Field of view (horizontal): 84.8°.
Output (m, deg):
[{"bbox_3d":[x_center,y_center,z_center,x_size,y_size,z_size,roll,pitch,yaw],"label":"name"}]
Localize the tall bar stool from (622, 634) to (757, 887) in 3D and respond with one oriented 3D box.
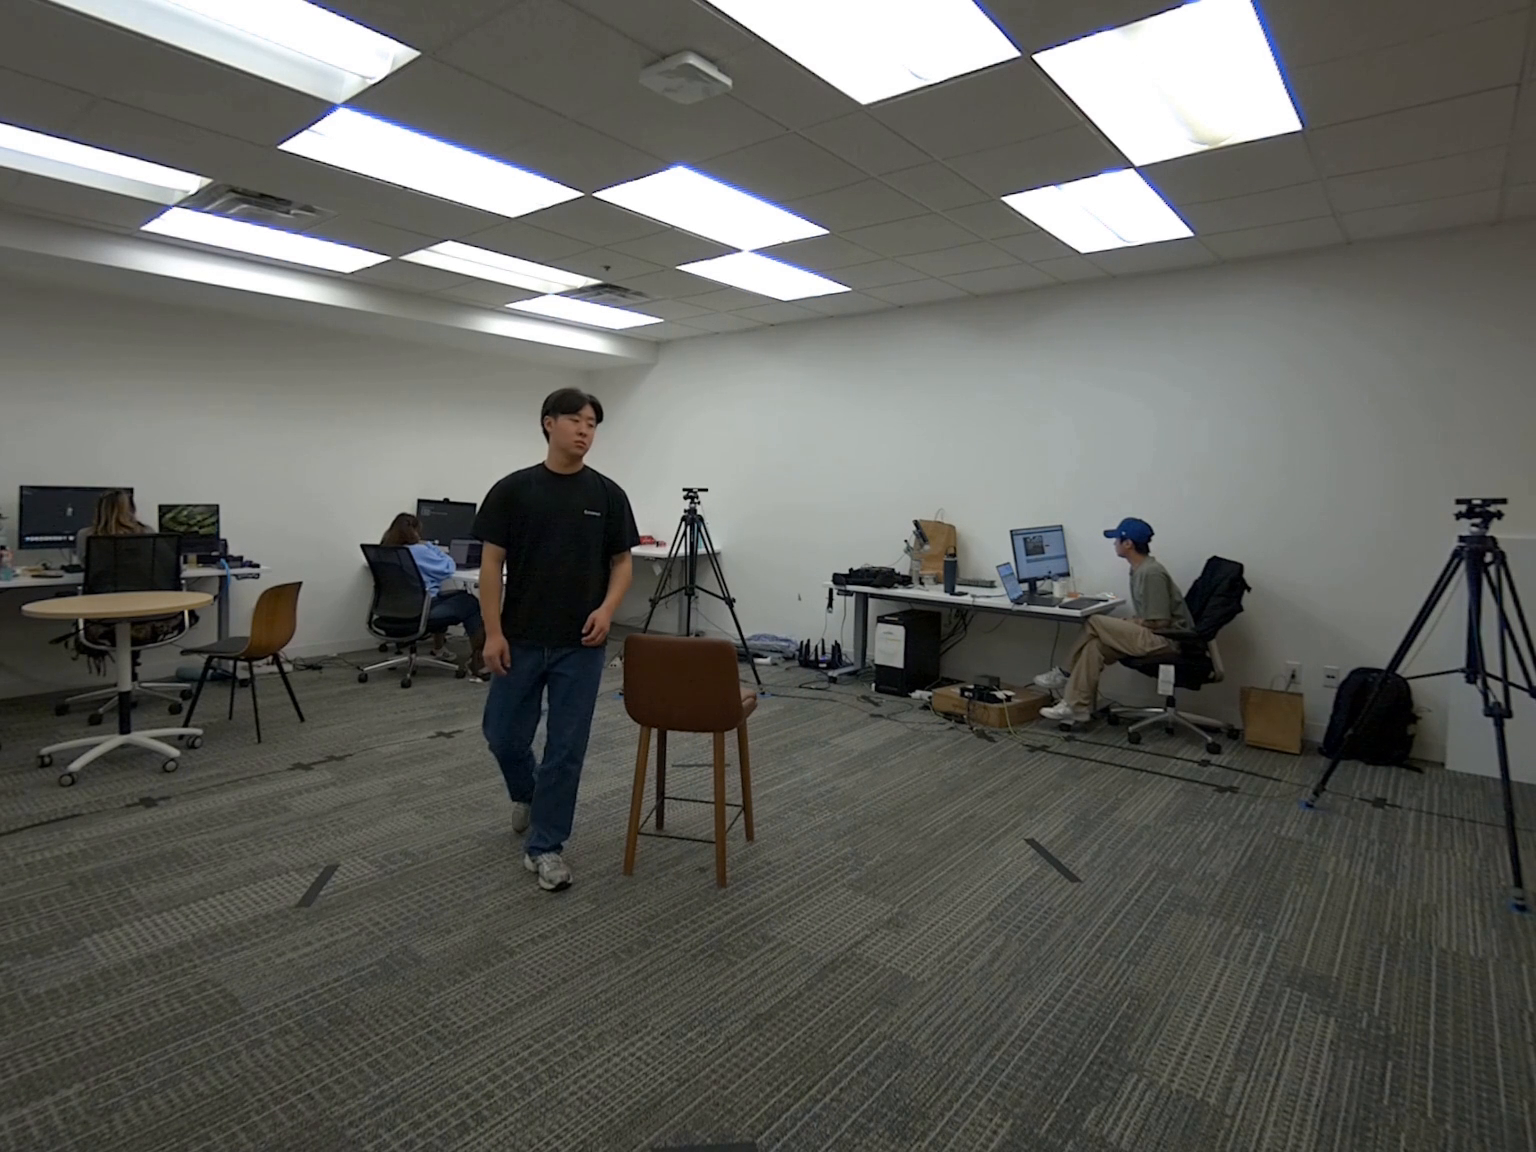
[{"bbox_3d":[-0.301,0.629,3.196,0.464,0.886,0.462,1,4,13],"label":"tall bar stool"}]
